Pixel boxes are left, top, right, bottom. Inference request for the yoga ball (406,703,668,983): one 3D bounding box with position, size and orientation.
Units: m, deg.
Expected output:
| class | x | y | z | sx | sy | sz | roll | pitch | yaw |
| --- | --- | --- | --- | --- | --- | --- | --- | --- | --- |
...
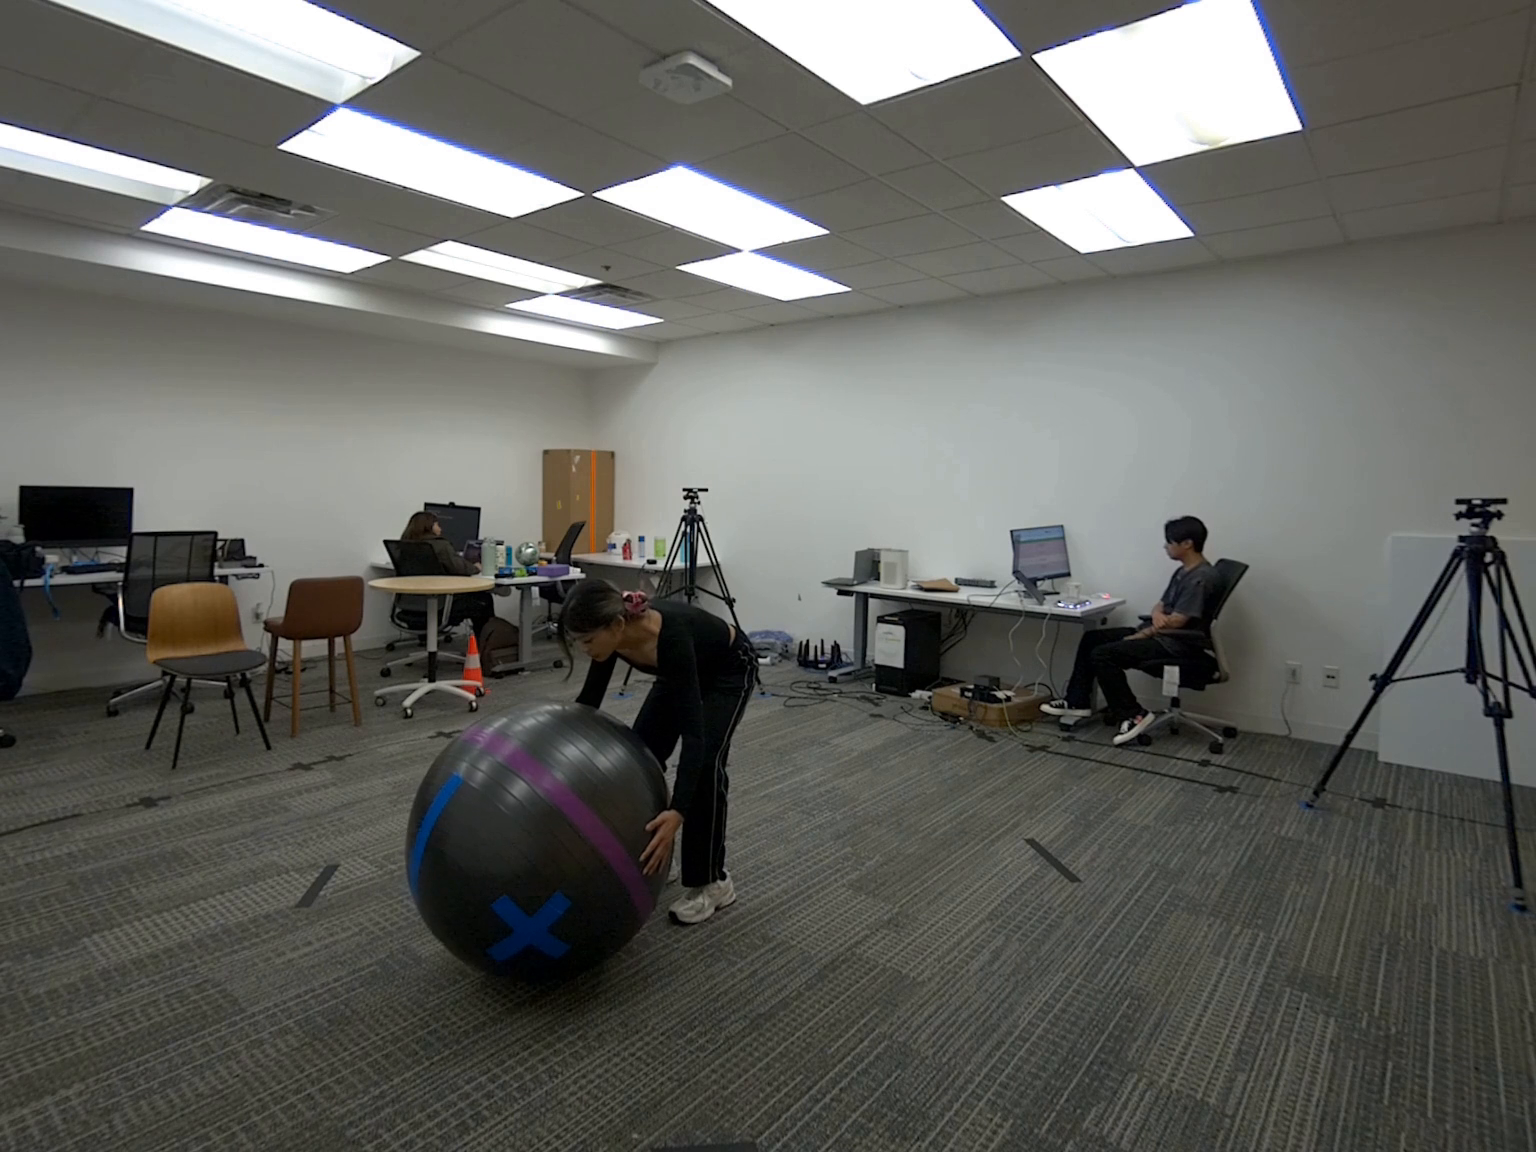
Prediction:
| class | x | y | z | sx | sy | sz | roll | pitch | yaw |
| --- | --- | --- | --- | --- | --- | --- | --- | --- | --- |
| yoga ball | -0.665 | 0.743 | 2.437 | 0.757 | 0.755 | 0.762 | 1 | 4 | -2 |
